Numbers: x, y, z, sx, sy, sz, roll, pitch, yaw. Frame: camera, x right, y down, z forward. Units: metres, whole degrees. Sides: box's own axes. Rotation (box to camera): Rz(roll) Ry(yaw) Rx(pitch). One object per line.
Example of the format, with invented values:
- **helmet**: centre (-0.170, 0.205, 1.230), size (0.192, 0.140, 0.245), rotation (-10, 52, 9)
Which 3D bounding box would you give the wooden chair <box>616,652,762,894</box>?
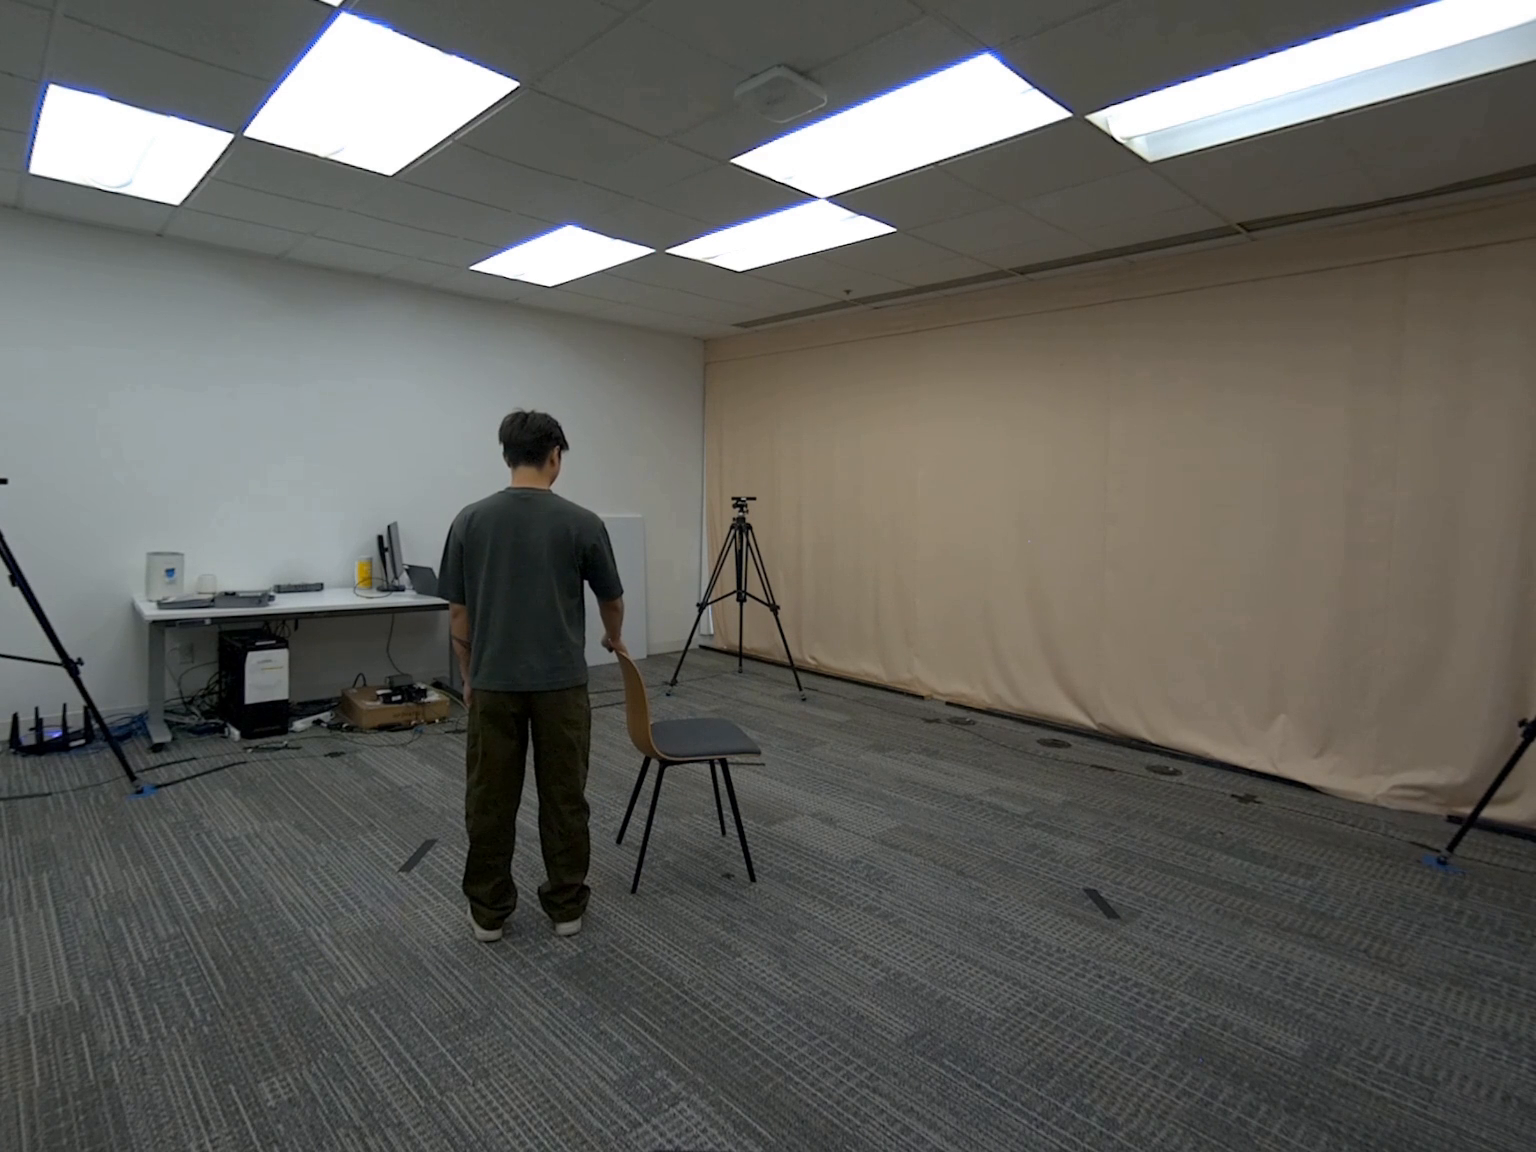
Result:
- **wooden chair**: centre (-0.313, 0.669, 3.186), size (0.517, 0.875, 0.485), rotation (-4, 4, -16)
